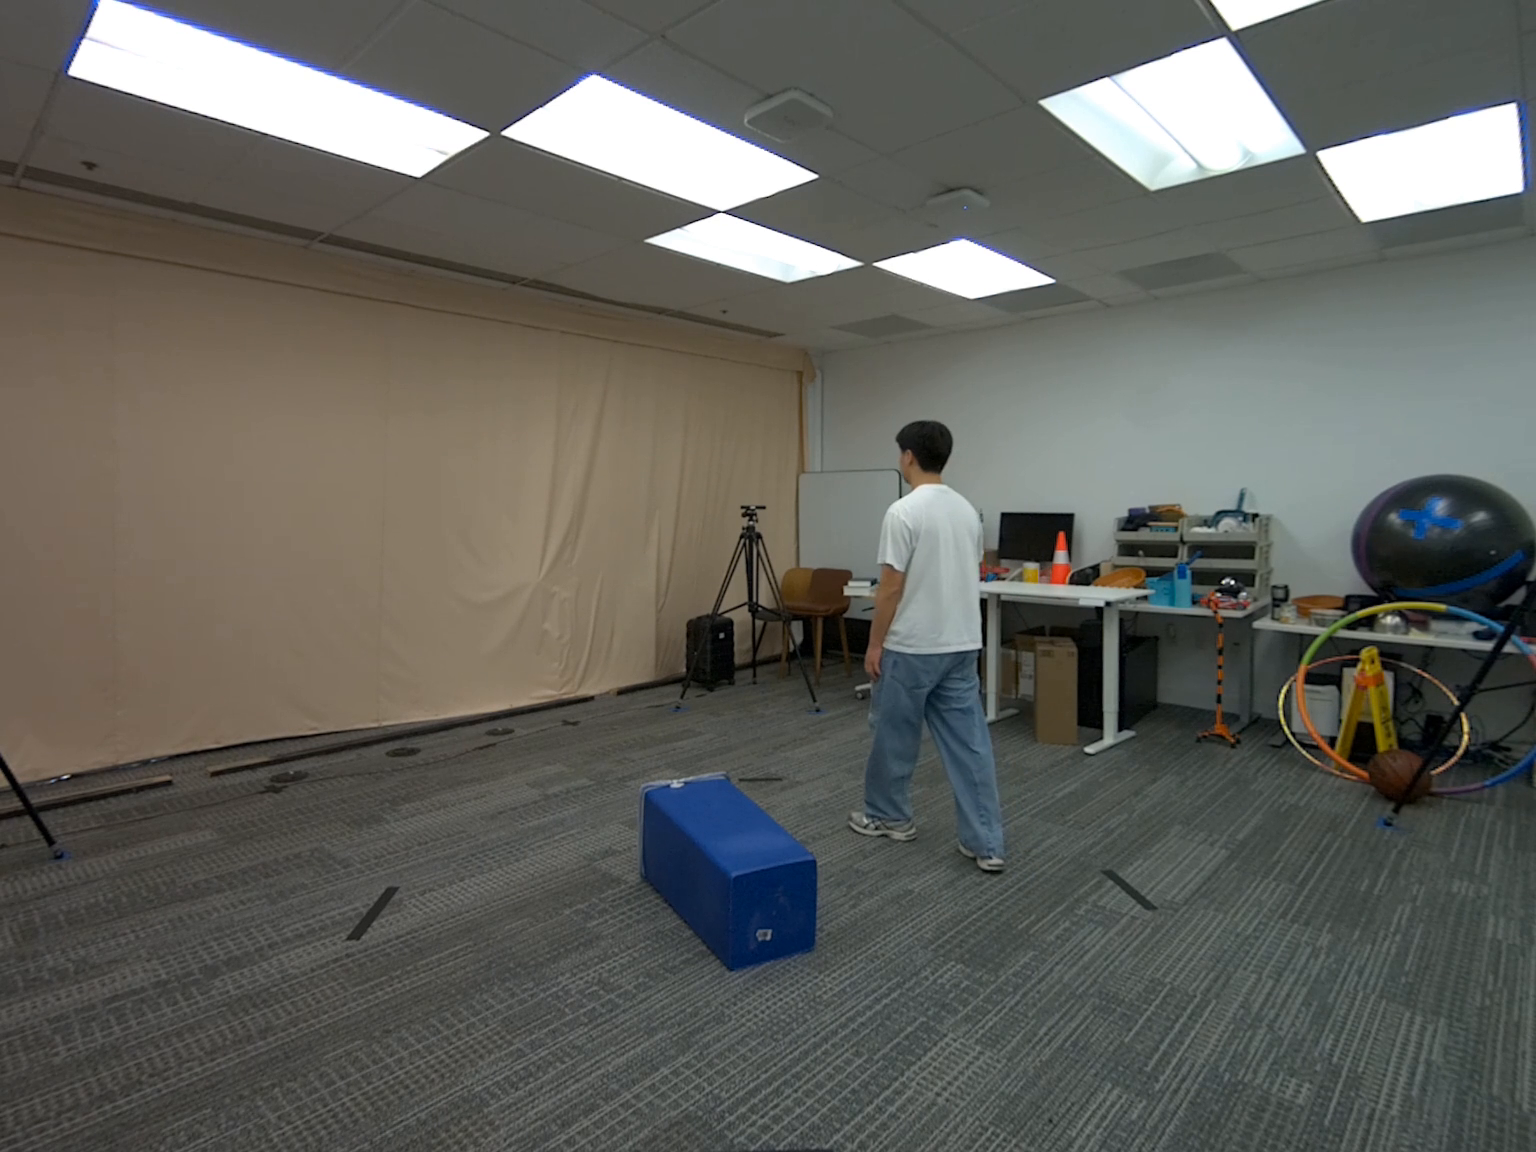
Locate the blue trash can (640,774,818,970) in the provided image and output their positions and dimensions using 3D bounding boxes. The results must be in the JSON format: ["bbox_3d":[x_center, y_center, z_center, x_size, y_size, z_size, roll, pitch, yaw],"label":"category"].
[{"bbox_3d":[-0.142,0.989,2.880,0.365,0.376,0.734,-2,7,-28],"label":"blue trash can"}]
